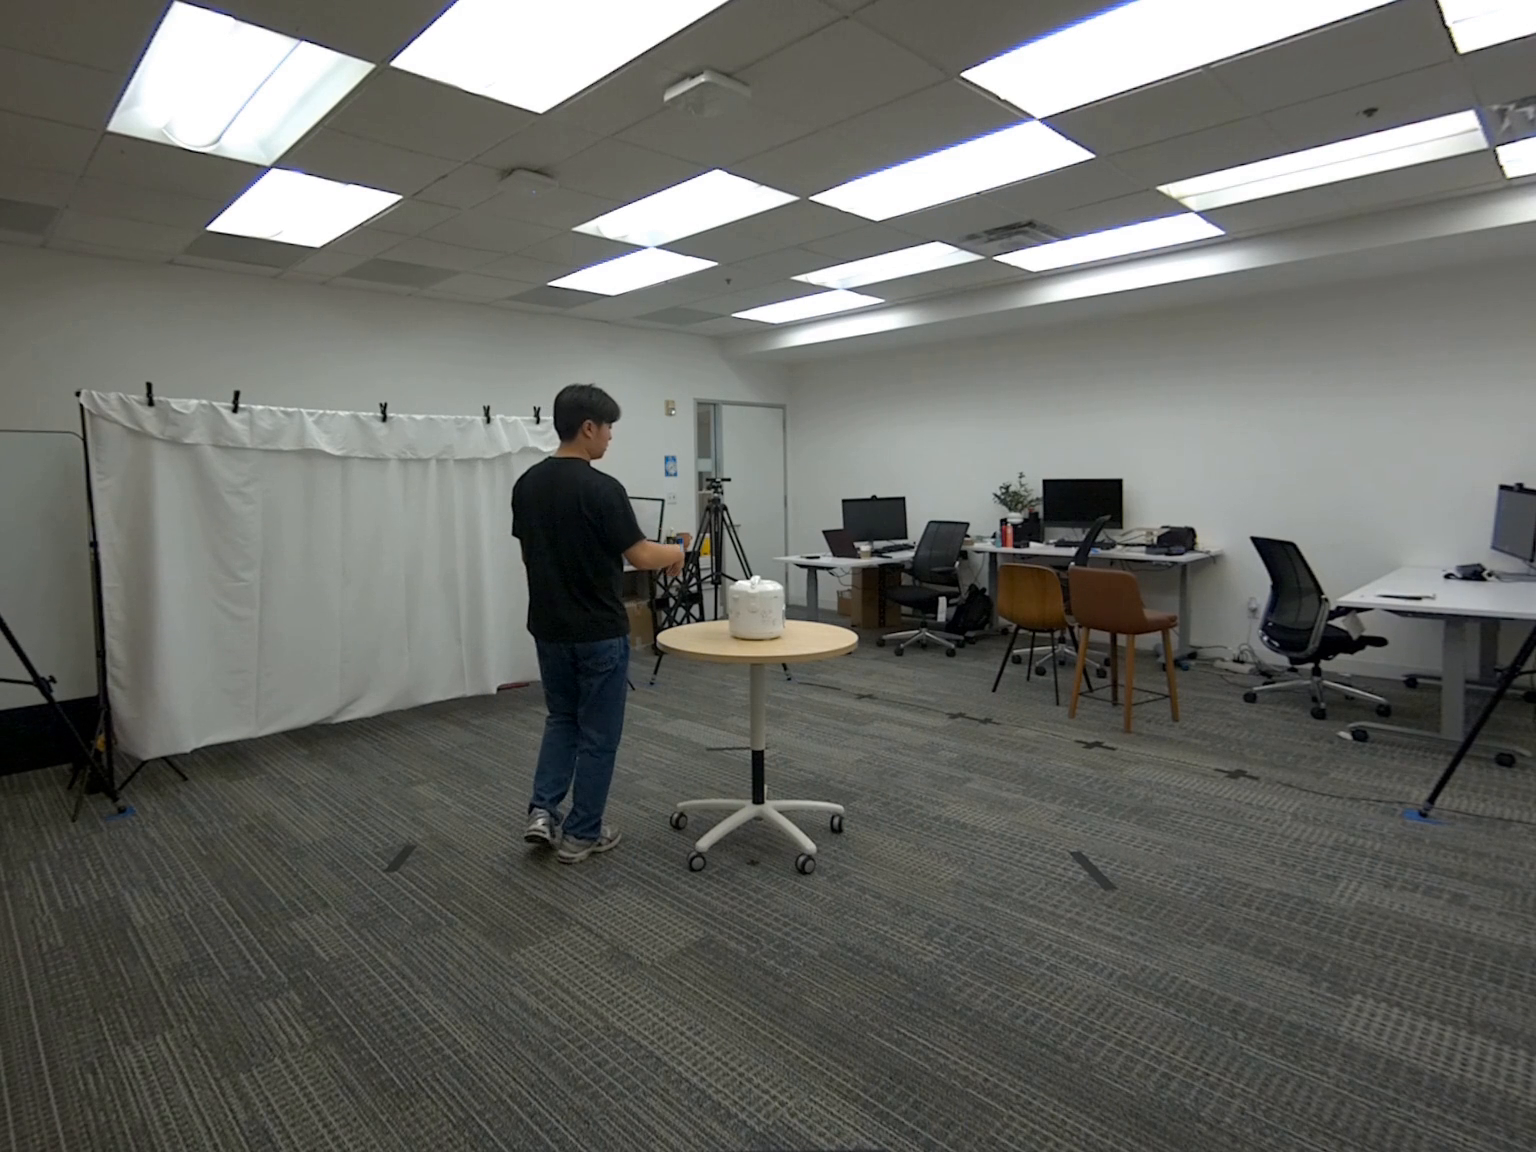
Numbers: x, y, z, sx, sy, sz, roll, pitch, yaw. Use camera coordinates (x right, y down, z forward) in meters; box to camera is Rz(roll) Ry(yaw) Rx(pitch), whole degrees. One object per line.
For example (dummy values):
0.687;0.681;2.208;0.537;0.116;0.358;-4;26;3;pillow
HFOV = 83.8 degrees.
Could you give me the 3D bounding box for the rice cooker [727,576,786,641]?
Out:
-0.043;0.111;3.240;0.219;0.232;0.220;0;5;7;rice cooker
